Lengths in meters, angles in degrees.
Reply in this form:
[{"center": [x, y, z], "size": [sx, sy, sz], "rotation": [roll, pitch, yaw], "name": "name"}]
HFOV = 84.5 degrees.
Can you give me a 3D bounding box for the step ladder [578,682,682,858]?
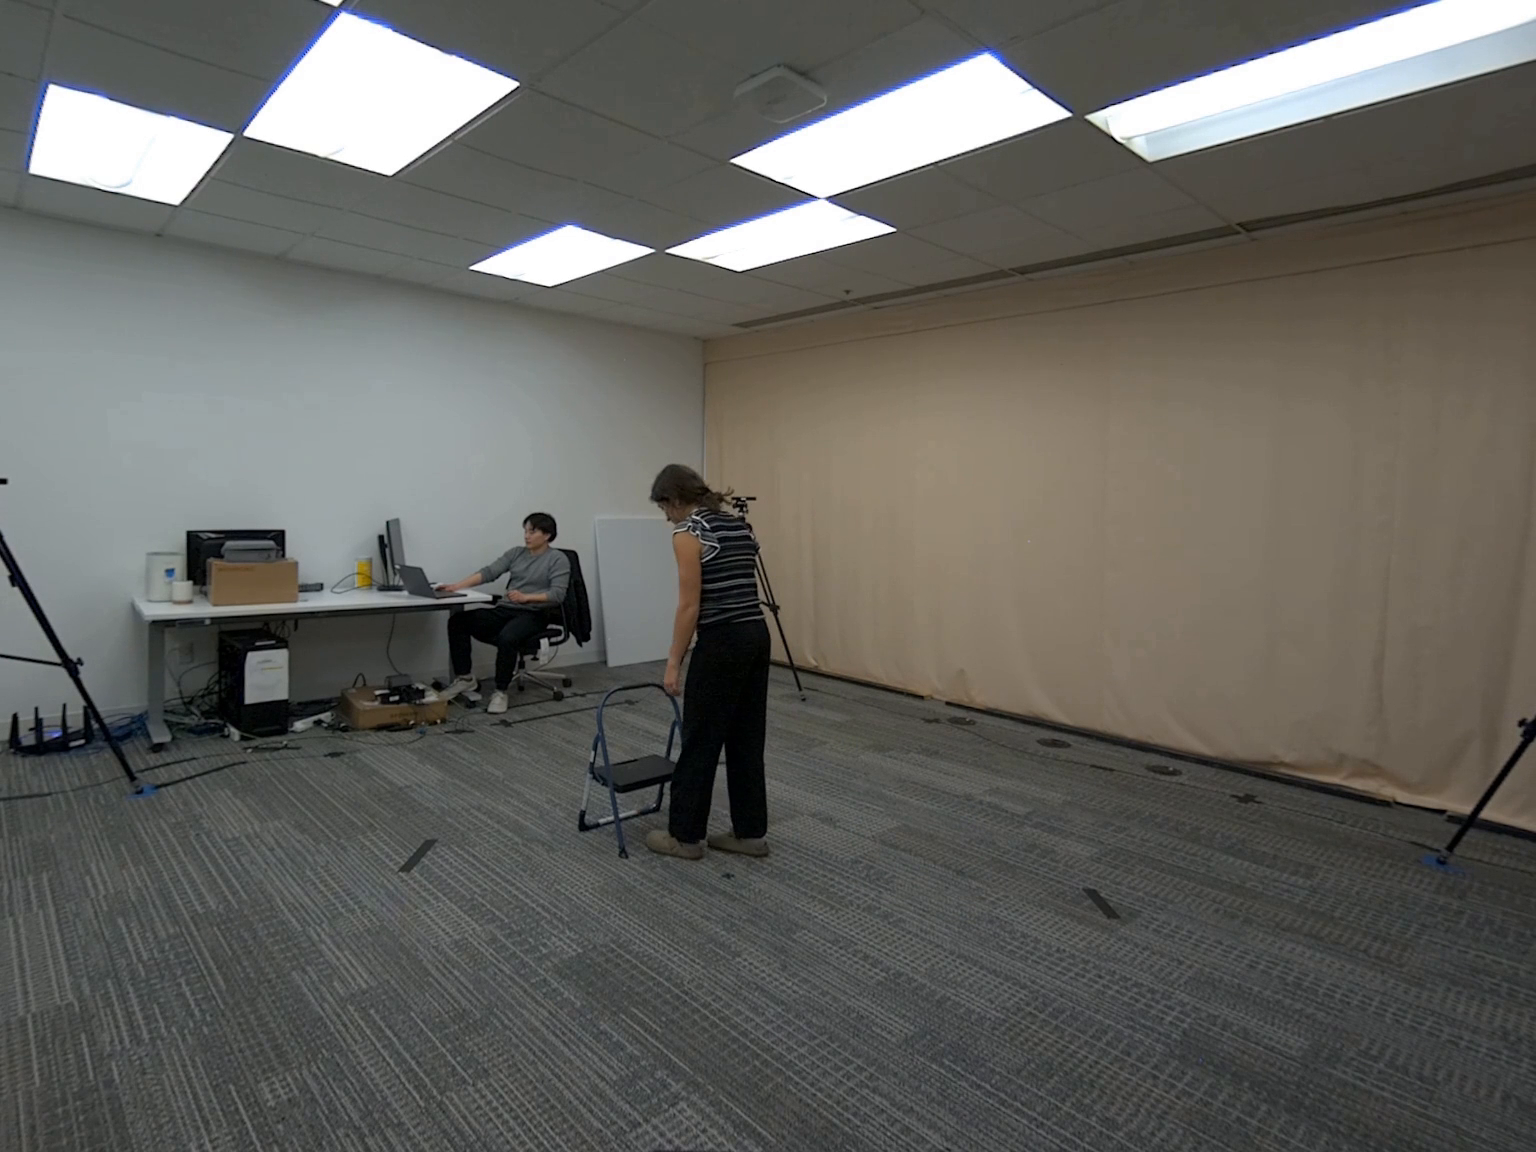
[{"center": [-0.521, 0.761, 3.483], "size": [0.421, 0.604, 0.358], "rotation": [-2, 5, -43], "name": "step ladder"}]
